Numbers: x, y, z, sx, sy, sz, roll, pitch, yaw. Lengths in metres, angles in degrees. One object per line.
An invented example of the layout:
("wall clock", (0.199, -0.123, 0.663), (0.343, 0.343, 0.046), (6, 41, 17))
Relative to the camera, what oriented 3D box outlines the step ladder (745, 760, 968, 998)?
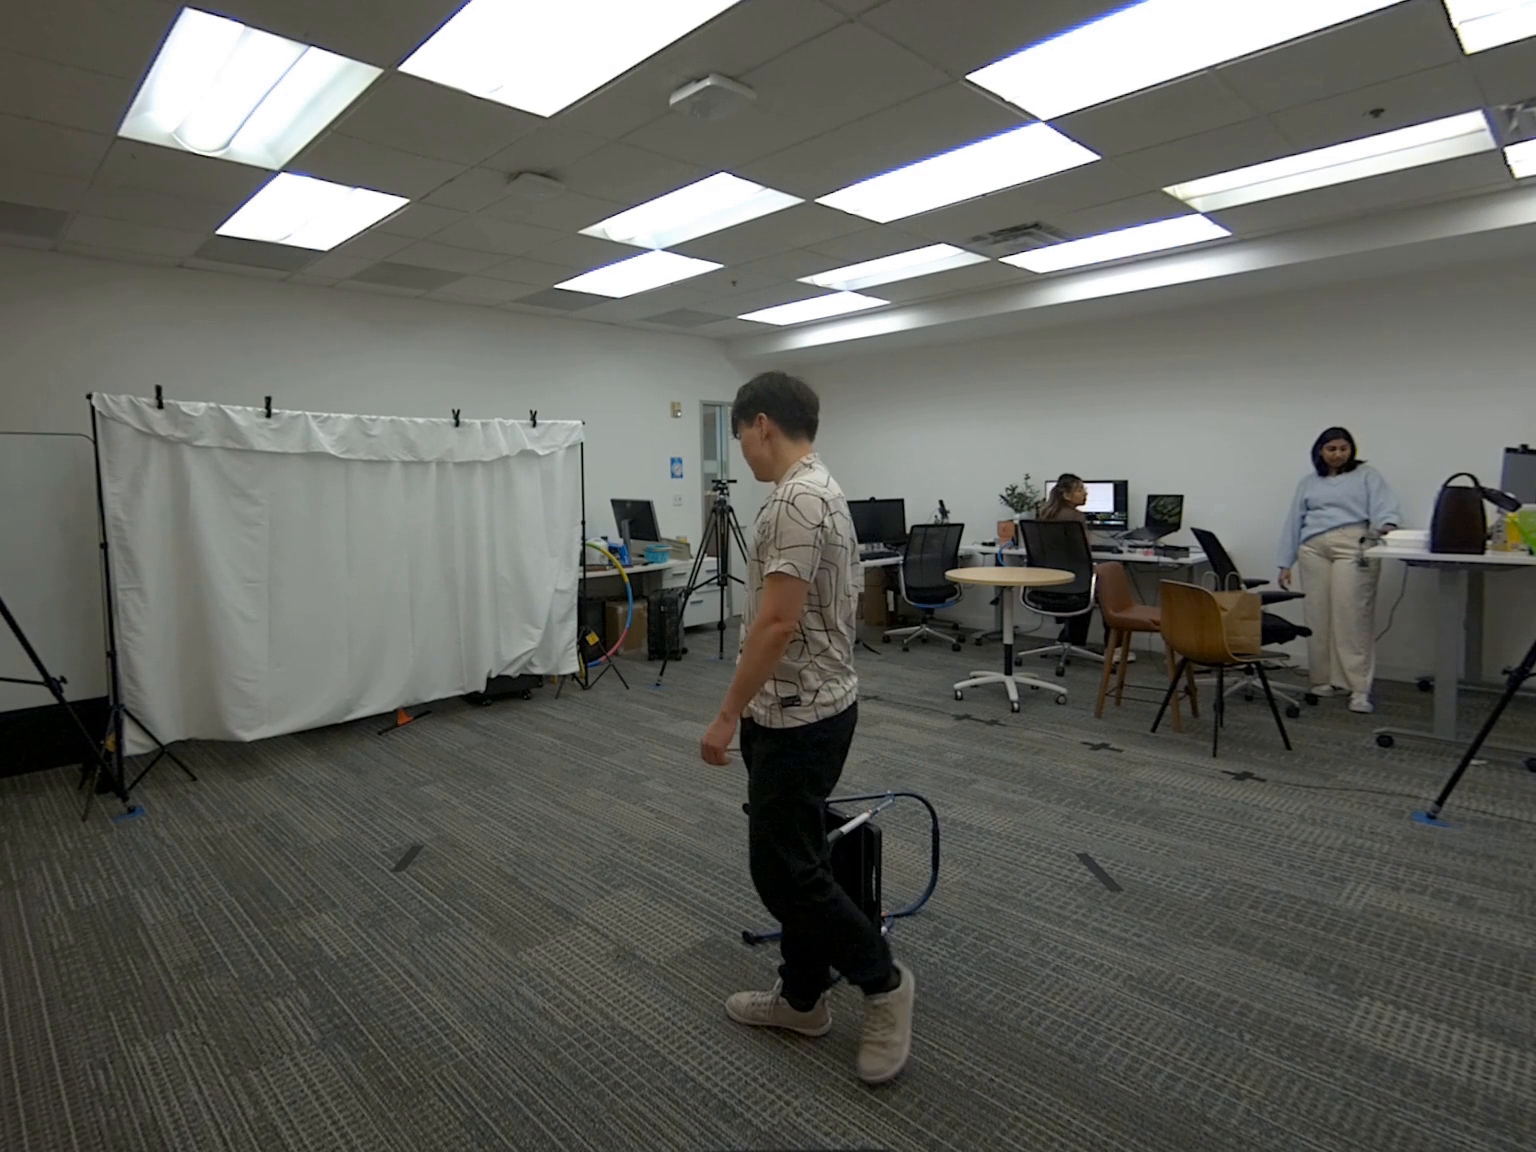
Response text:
("step ladder", (0.274, 0.887, 2.626), (0.590, 0.428, 0.360), (-5, 8, -39))
